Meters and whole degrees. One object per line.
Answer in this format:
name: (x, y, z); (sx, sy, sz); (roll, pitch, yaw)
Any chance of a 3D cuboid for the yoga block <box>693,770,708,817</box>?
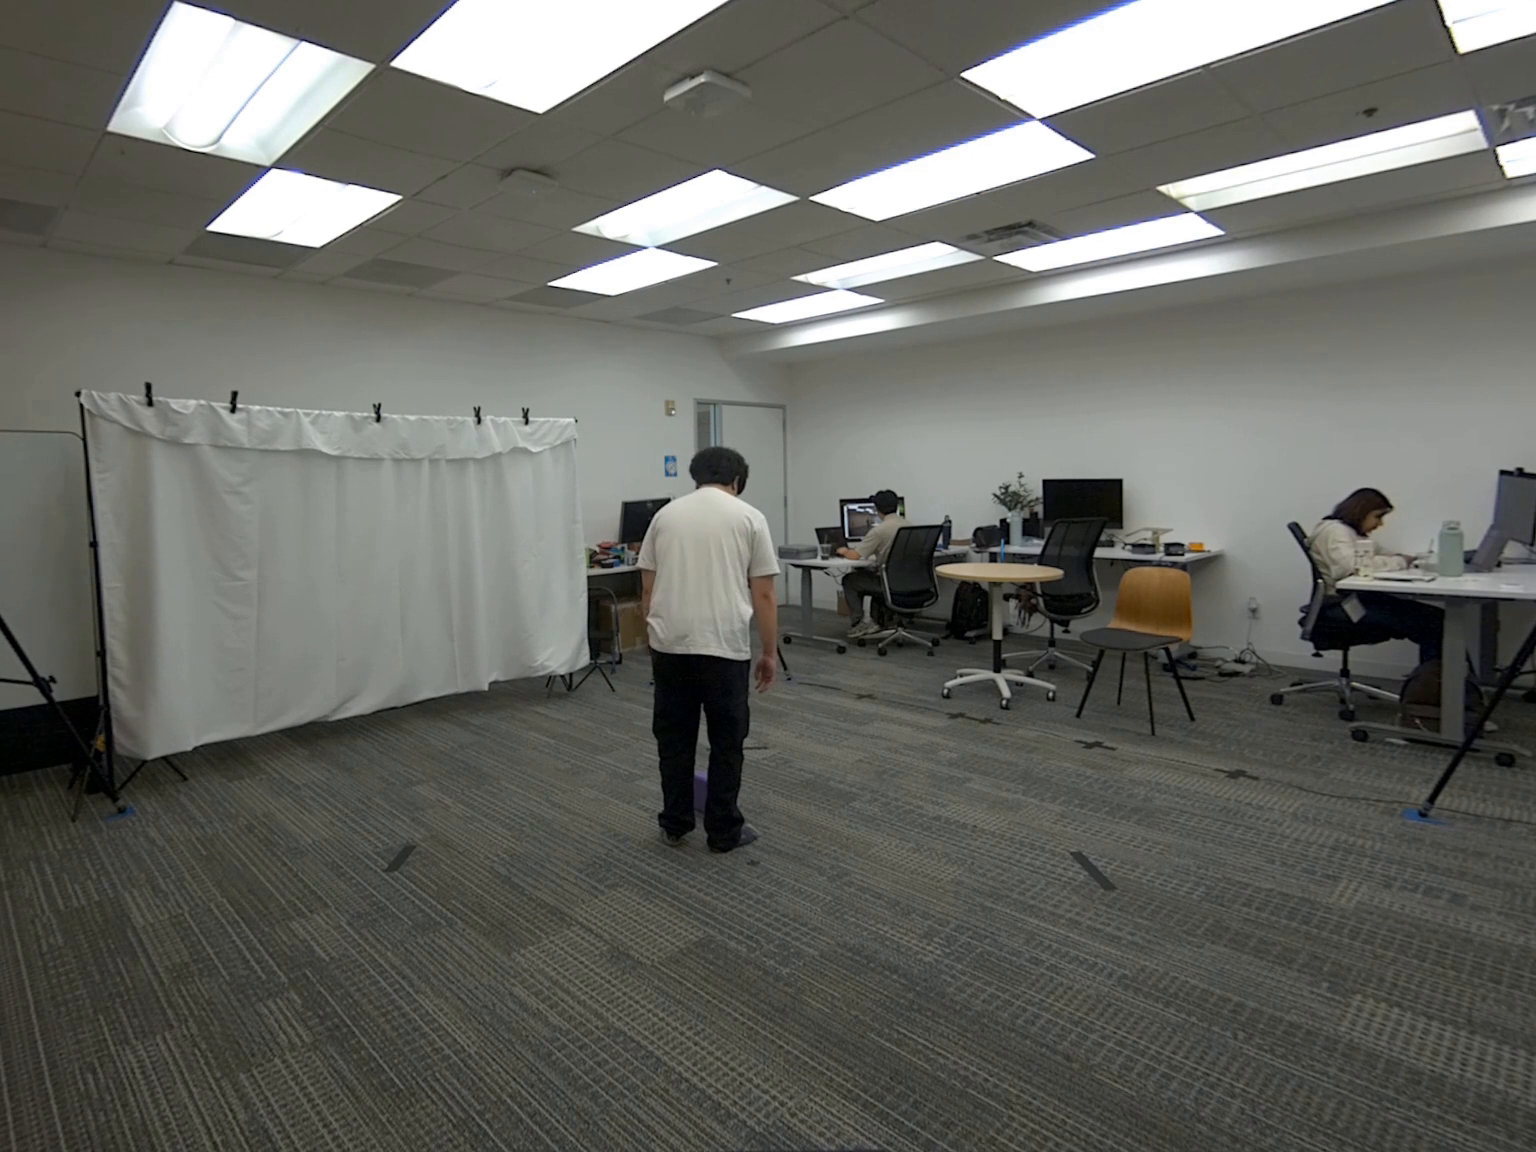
yoga block: (-0.221, 0.917, 3.577); (0.074, 0.148, 0.236); (-5, 6, -42)
